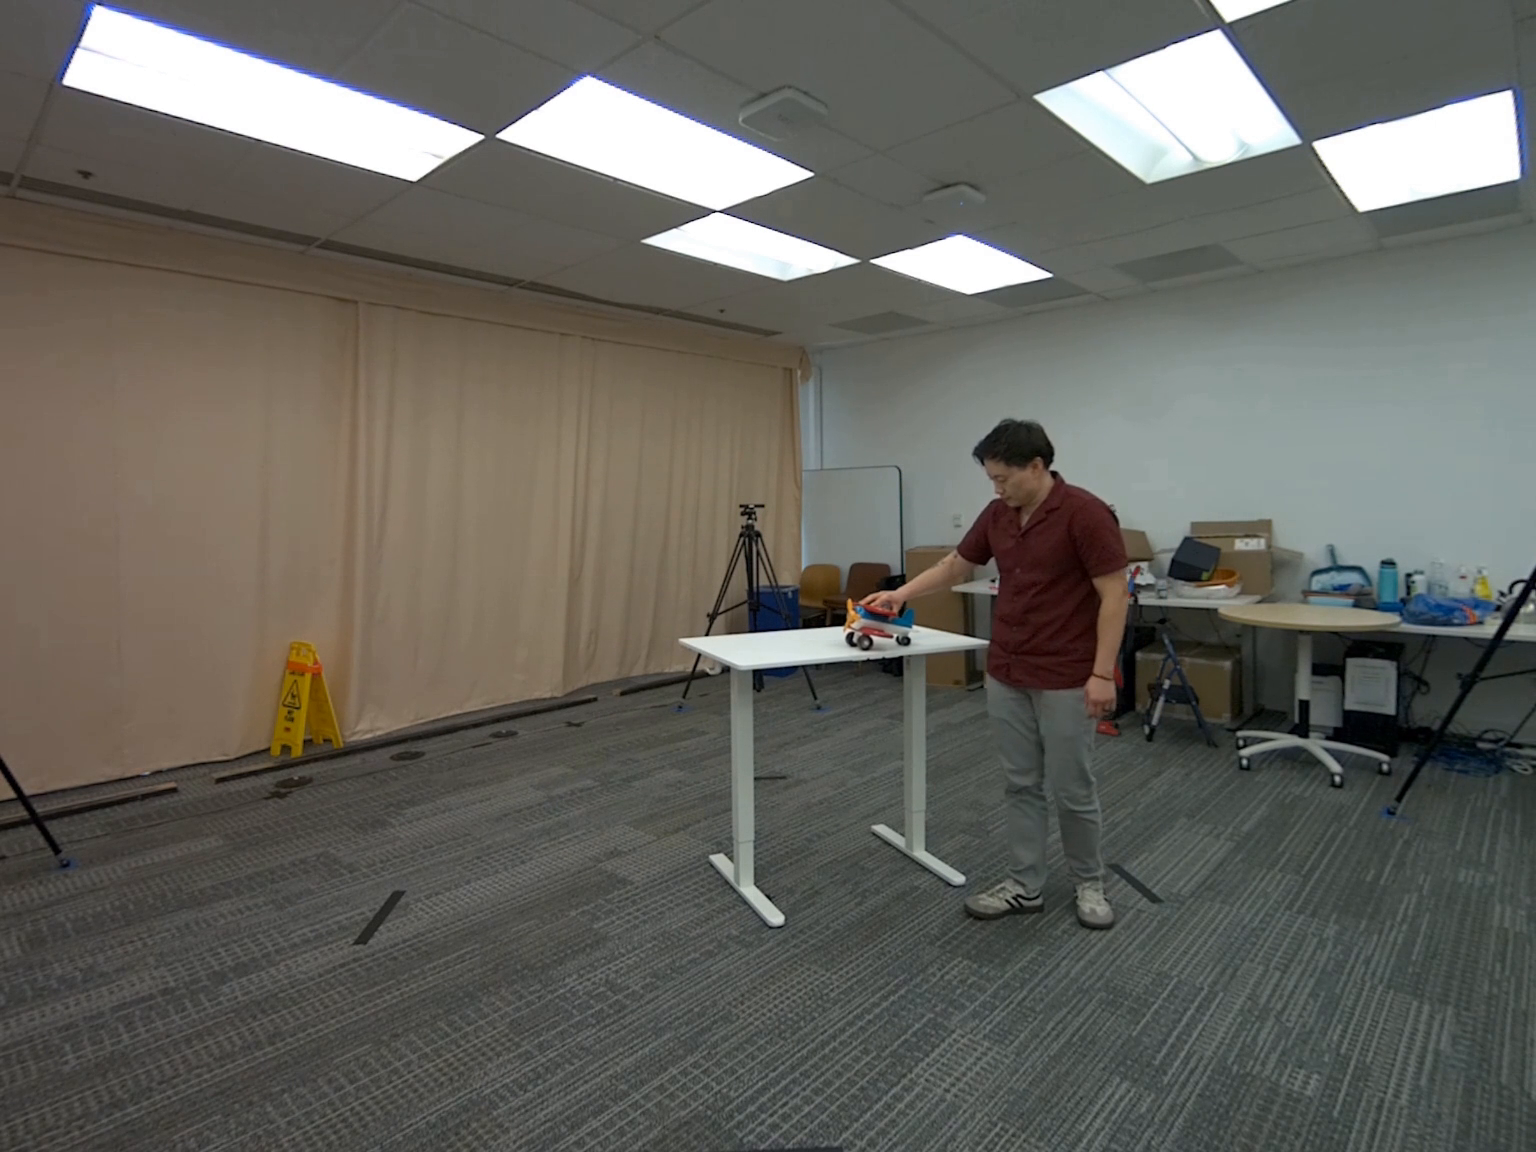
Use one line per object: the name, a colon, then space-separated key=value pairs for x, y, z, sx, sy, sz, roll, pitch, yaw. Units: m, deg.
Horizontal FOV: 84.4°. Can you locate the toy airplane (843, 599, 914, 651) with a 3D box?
toy airplane: x=0.394 y=0.174 z=2.993 sx=0.259 sy=0.156 sz=0.251 roll=5 pitch=8 yaw=43
